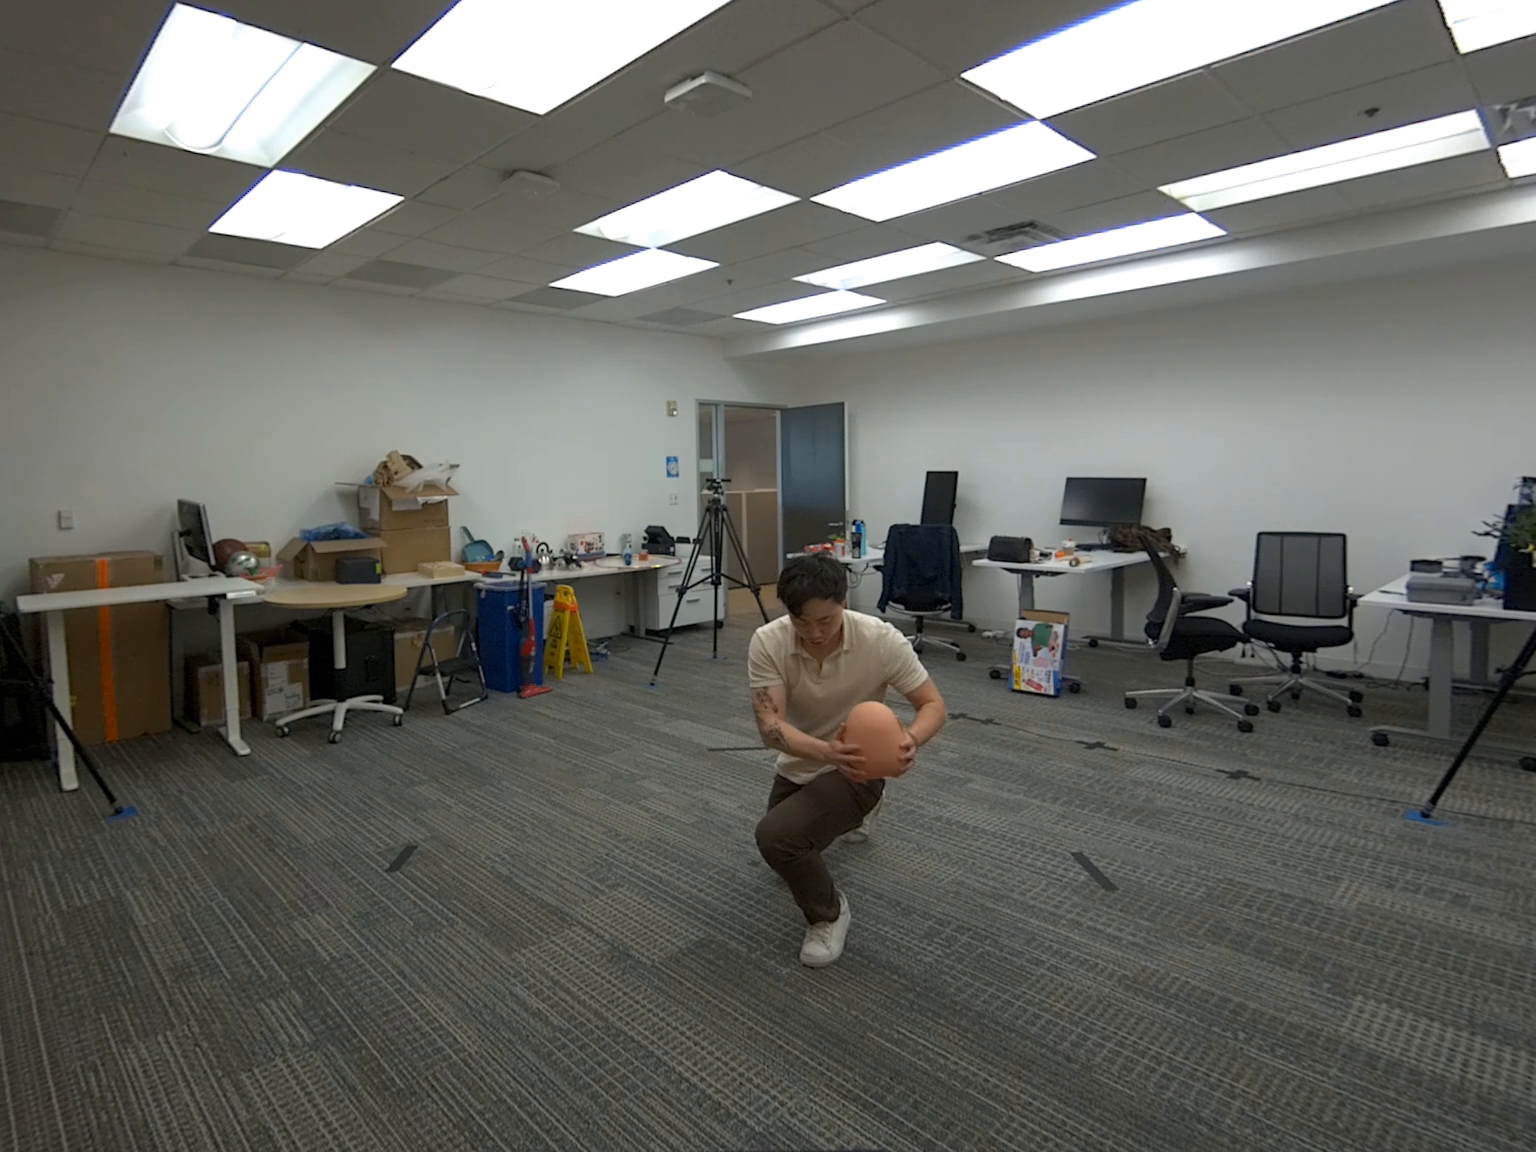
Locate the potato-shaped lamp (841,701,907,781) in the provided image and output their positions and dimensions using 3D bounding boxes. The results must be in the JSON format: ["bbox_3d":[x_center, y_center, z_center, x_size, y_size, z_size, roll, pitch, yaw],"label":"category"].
[{"bbox_3d":[0.282,0.442,2.302,0.164,0.199,0.171,-8,-3,-5],"label":"potato-shaped lamp"}]
